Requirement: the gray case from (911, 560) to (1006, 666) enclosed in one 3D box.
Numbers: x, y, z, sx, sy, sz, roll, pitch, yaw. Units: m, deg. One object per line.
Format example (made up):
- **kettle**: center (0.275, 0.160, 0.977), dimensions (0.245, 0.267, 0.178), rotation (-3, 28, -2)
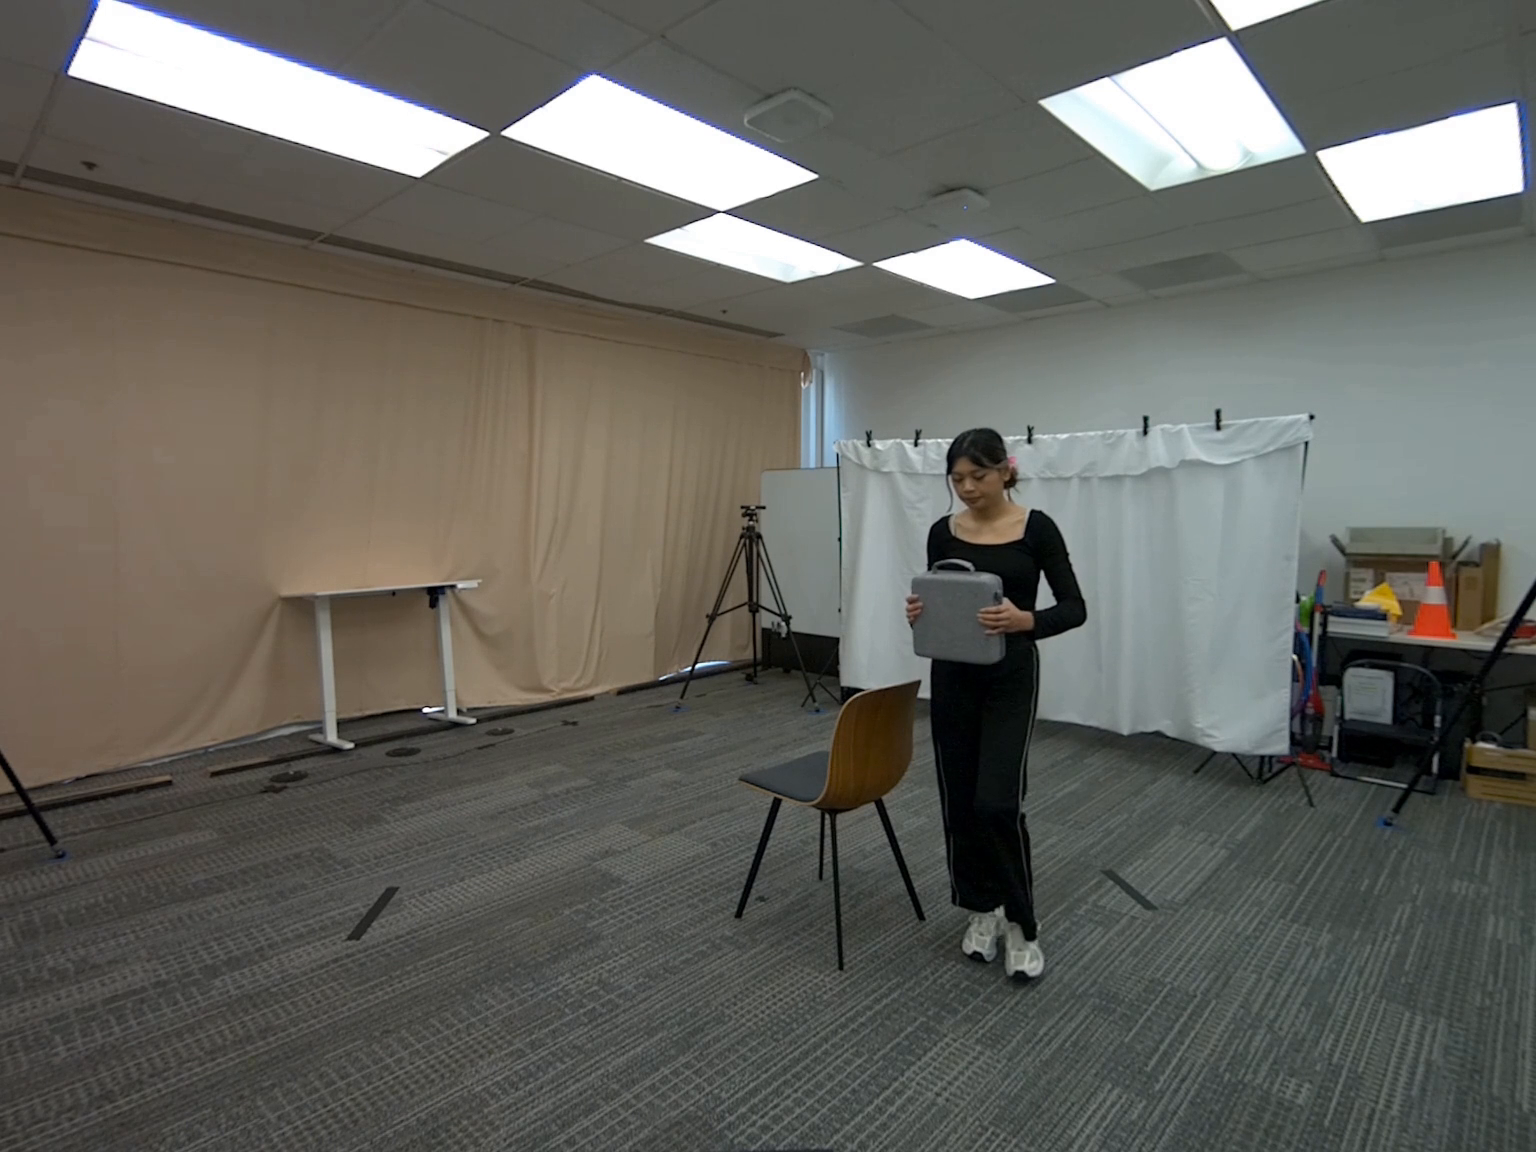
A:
- **gray case**: center (0.544, 0.118, 2.427), dimensions (0.265, 0.259, 0.101), rotation (1, 8, 40)
